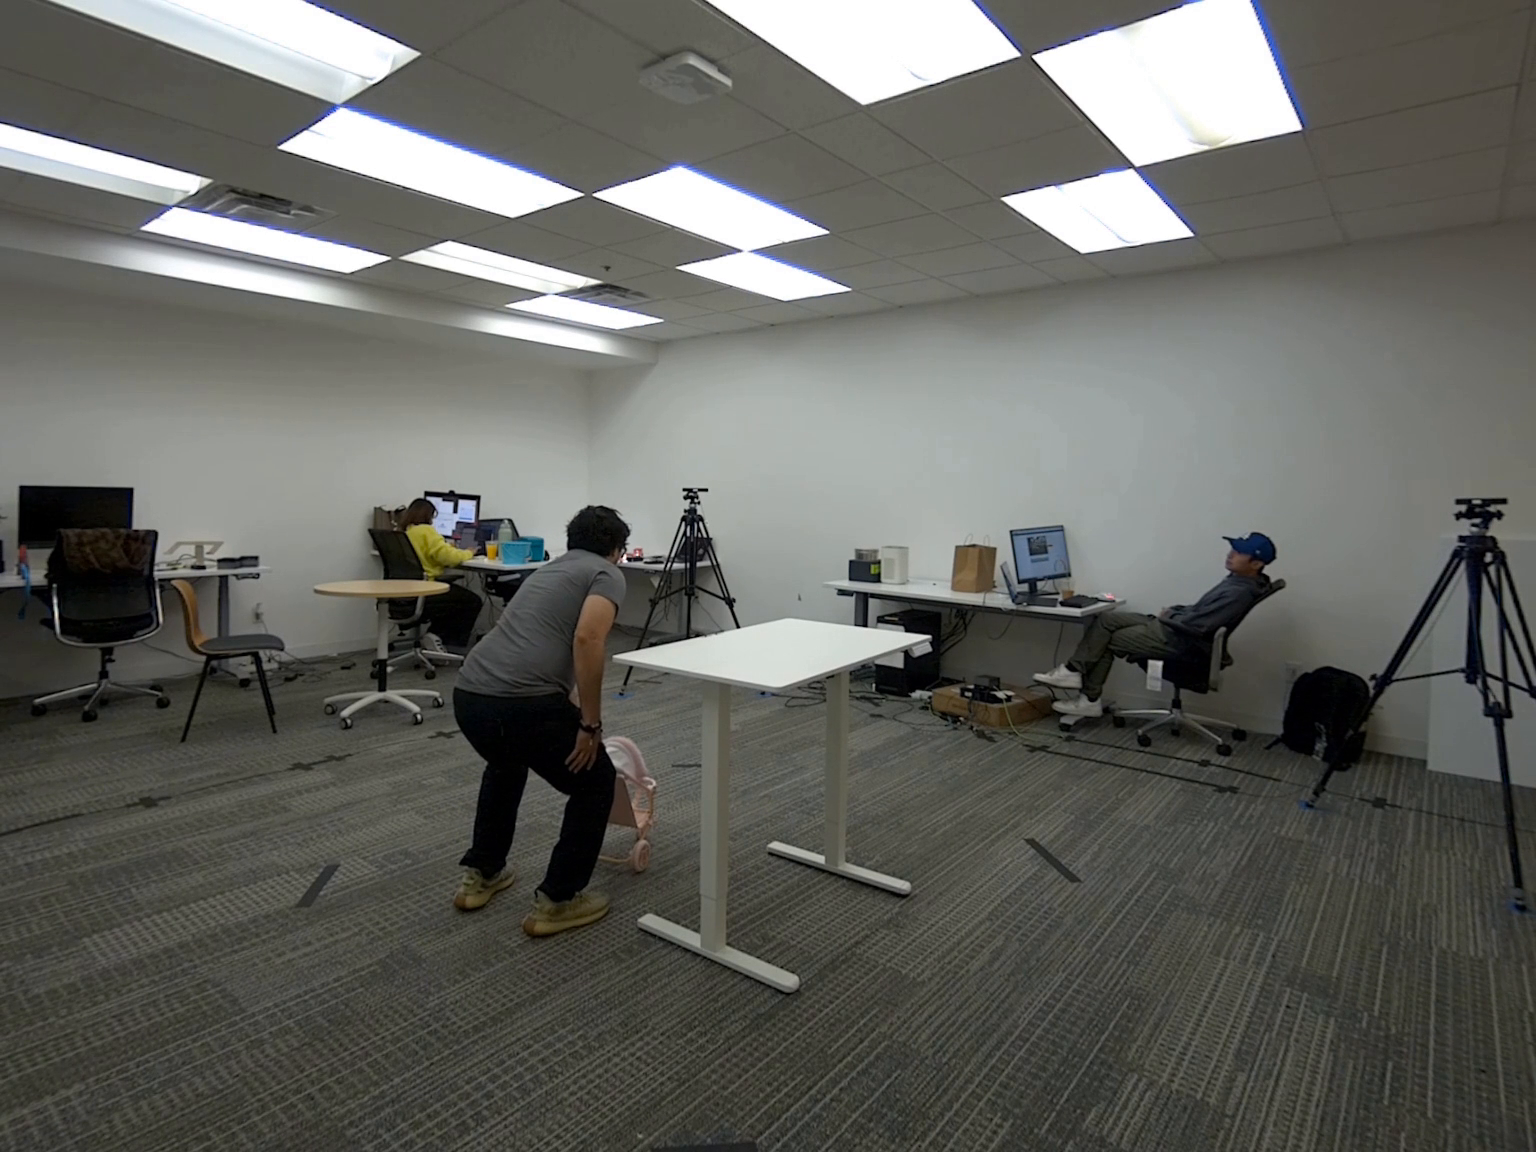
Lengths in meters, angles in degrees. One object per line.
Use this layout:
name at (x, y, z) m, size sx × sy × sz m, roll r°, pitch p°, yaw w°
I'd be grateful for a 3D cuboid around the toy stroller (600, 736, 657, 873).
toy stroller at (-0.565, 0.832, 3.180) m, size 0.288 × 0.526 × 0.339 m, roll 3°, pitch 19°, yaw 23°
